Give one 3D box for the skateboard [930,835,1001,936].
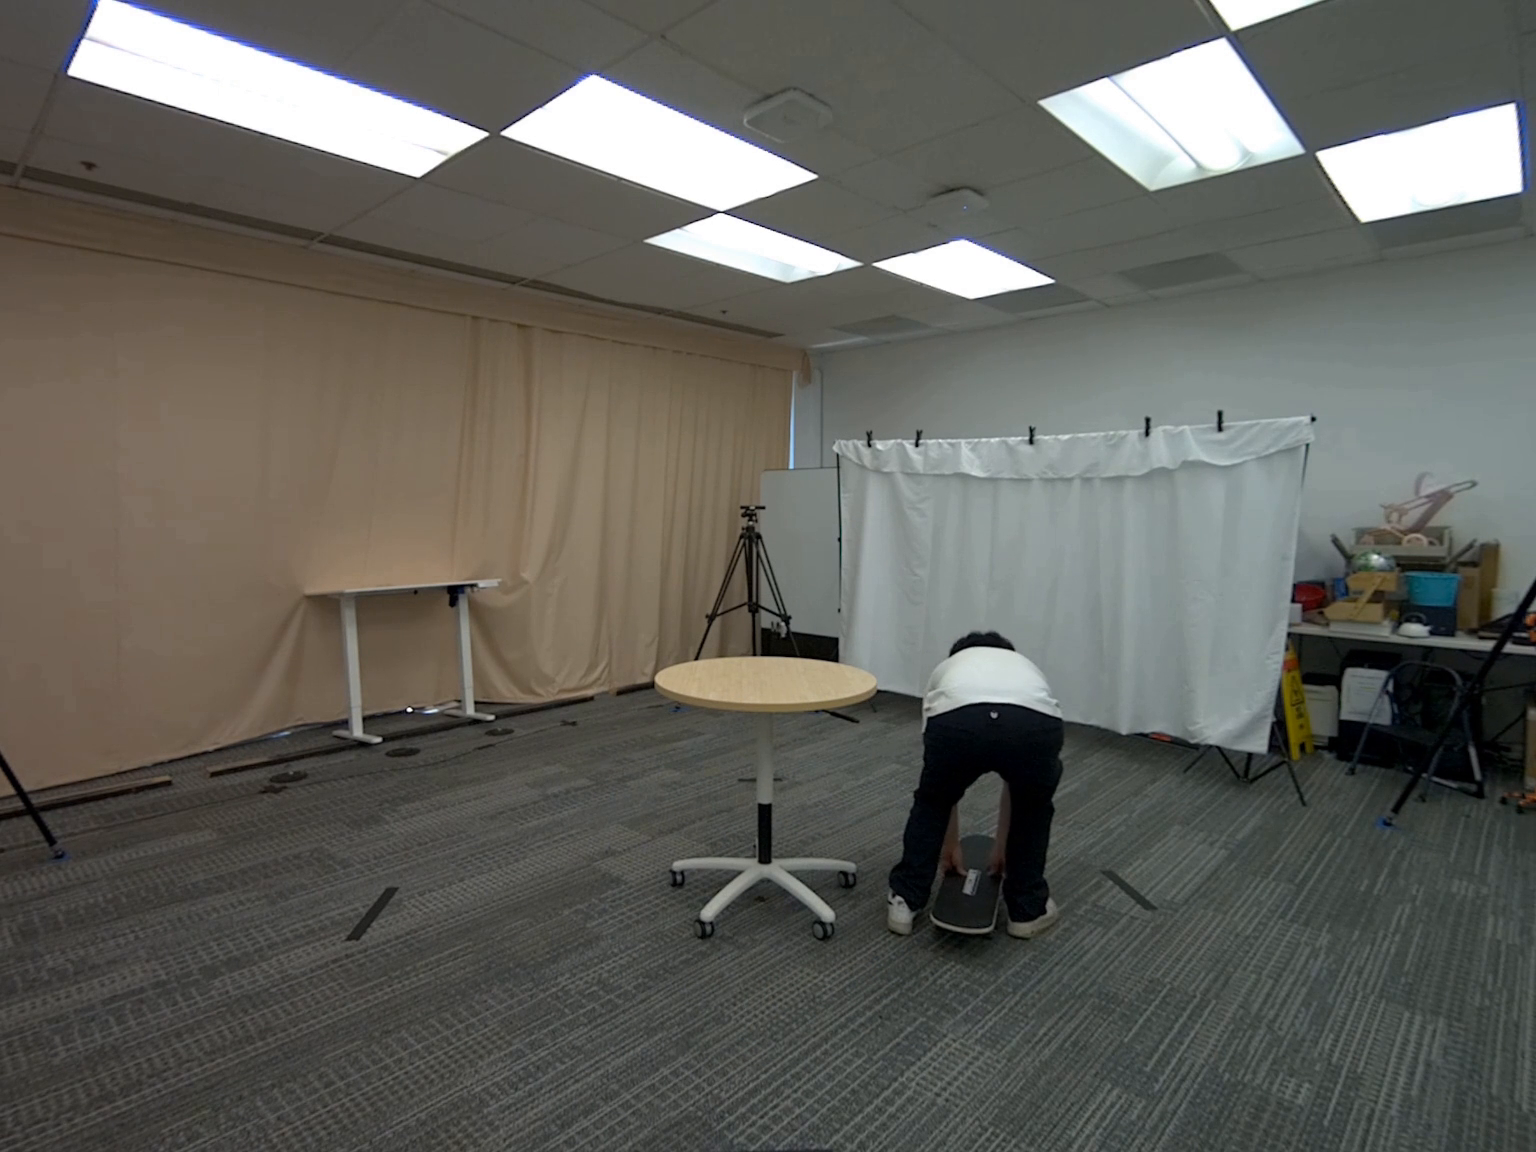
[{"bbox_3d":[0.702,1.093,2.915,0.198,0.110,0.769,1,5,21],"label":"skateboard"}]
